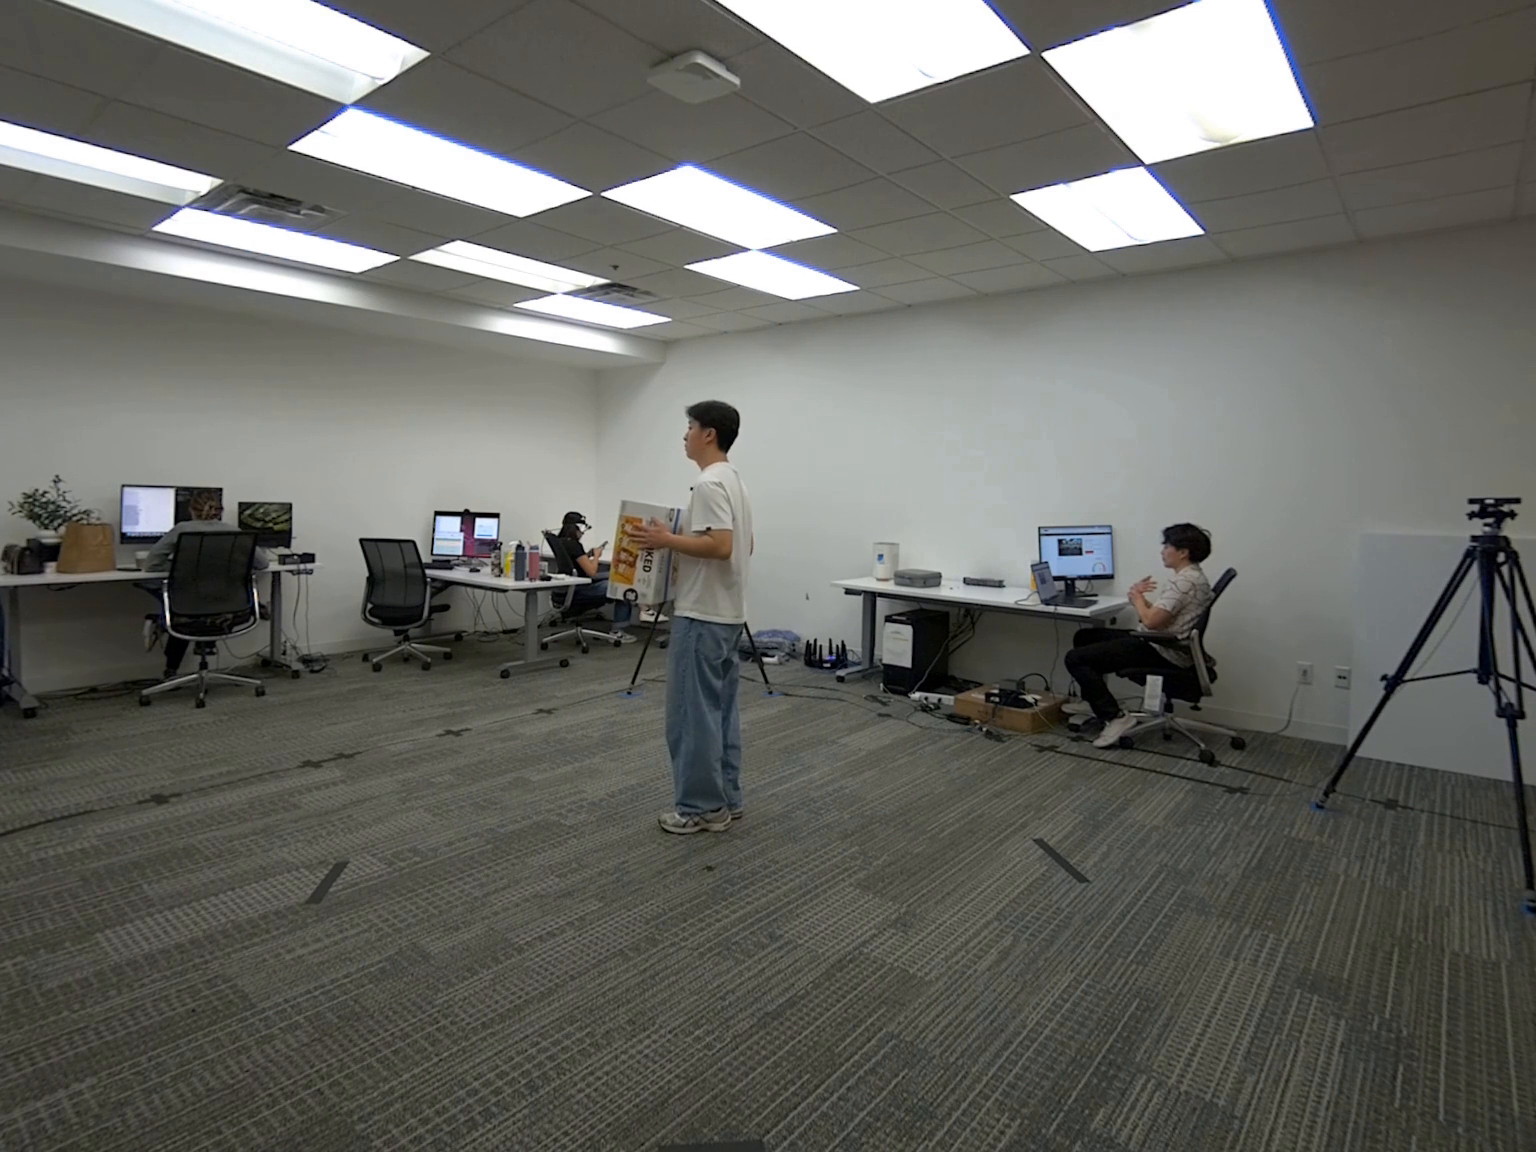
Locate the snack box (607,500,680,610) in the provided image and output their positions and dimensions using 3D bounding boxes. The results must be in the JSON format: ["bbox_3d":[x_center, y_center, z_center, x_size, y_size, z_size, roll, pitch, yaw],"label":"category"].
[{"bbox_3d":[-0.526,-0.106,3.620,0.208,0.404,0.336,9,3,10],"label":"snack box"}]
